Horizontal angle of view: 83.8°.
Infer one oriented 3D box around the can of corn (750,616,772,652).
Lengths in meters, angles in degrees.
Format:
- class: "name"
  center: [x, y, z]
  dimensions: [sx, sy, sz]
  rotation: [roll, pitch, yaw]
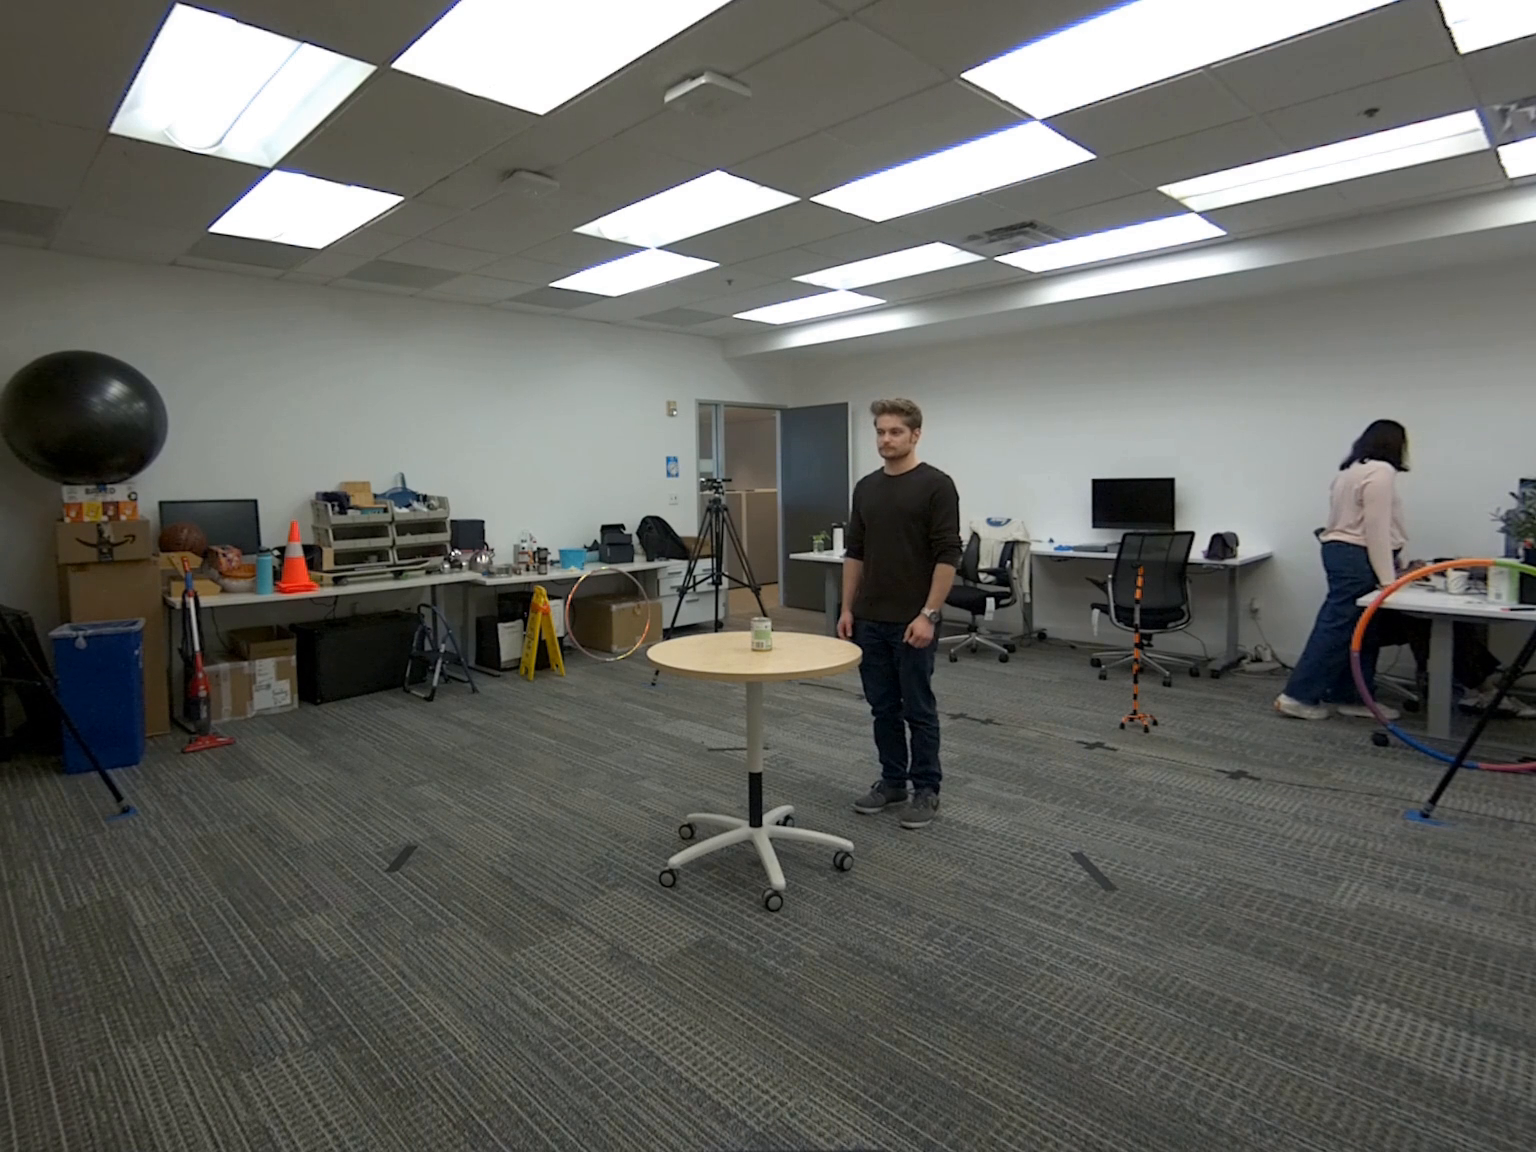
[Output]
- class: "can of corn"
  center: [-0.021, 0.207, 3.058]
  dimensions: [0.074, 0.111, 0.074]
  rotation: [0, 3, -2]
